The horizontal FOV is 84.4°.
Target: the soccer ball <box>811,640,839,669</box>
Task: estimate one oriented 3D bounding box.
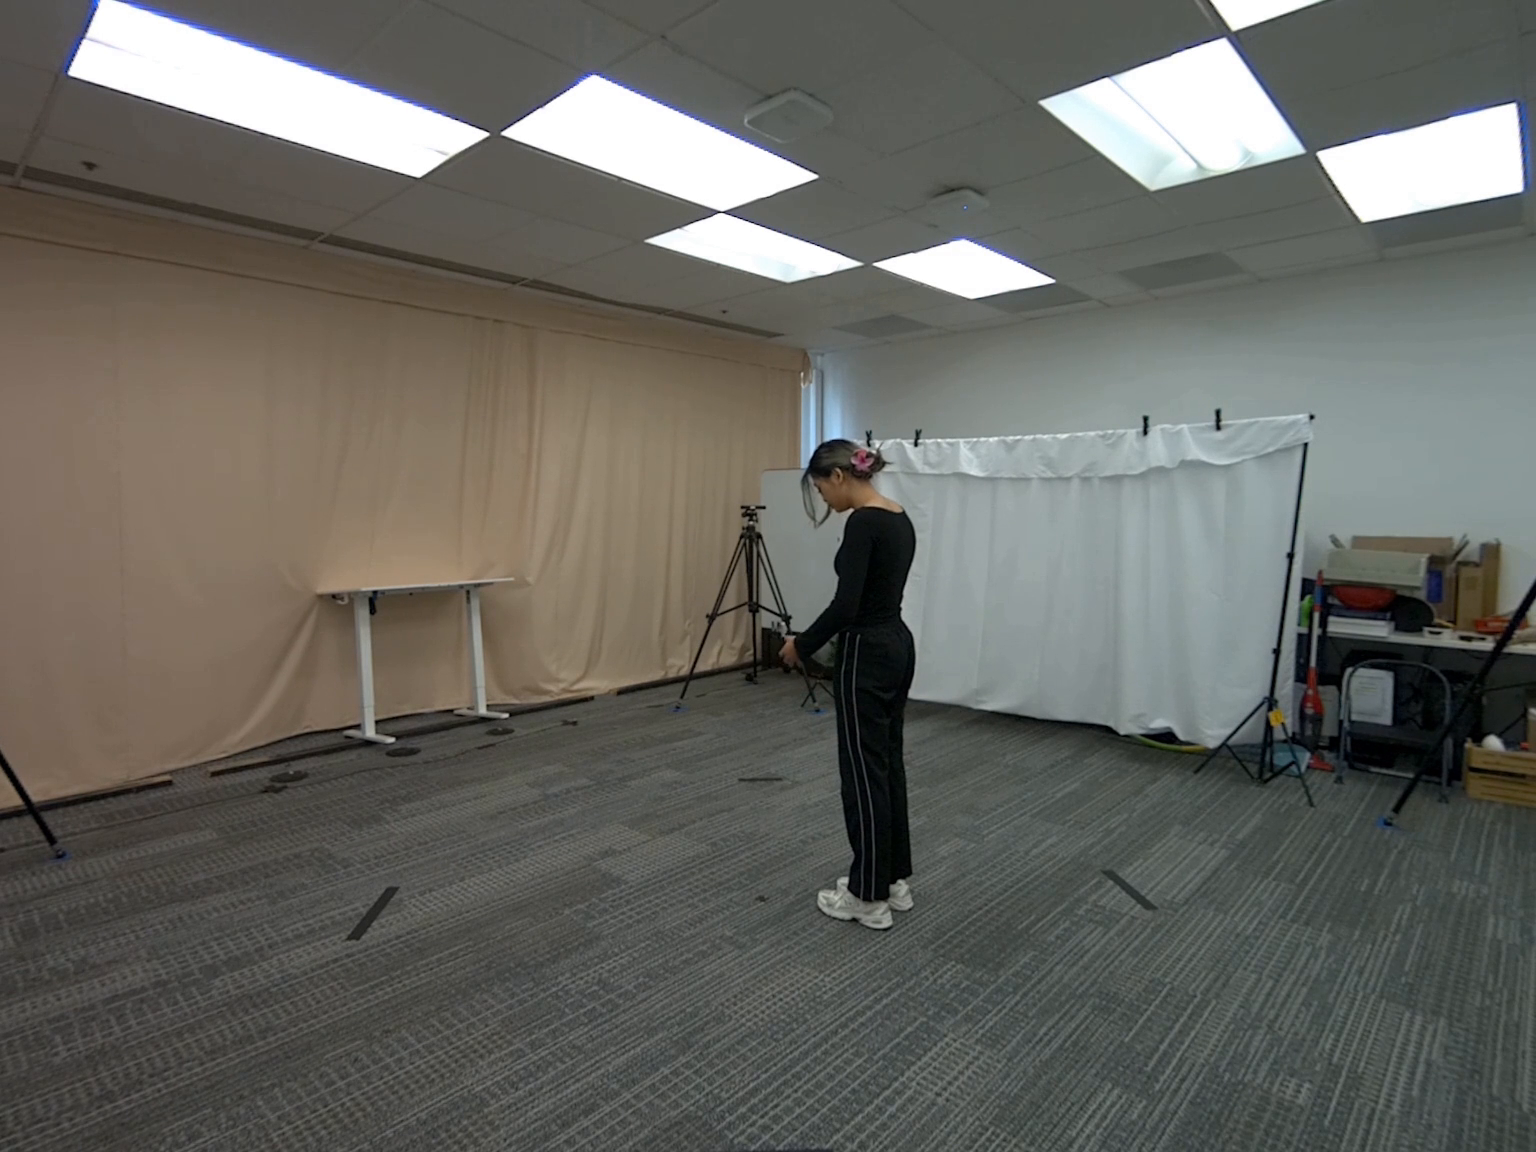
[{"bbox_3d":[0.248,0.233,3.080,0.187,0.187,0.188,0,4,-2],"label":"soccer ball"}]
